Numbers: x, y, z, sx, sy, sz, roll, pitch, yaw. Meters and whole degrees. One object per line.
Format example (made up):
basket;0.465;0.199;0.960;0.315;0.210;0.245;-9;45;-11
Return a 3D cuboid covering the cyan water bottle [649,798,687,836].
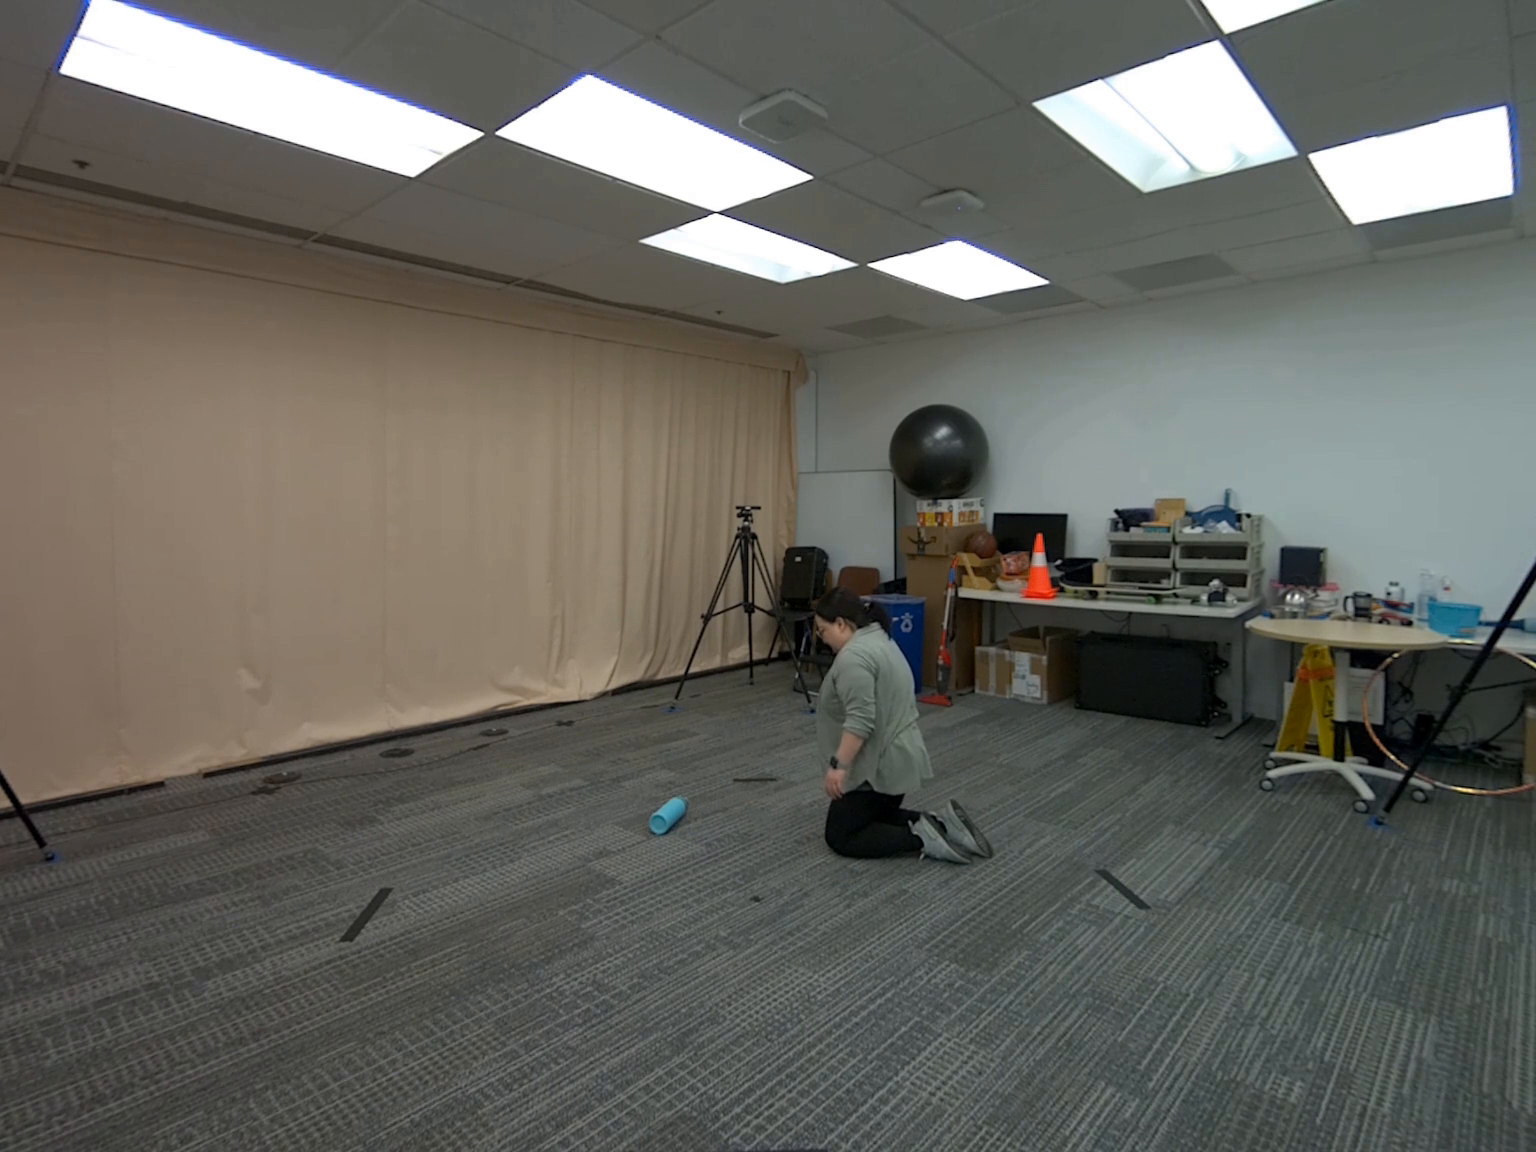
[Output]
cyan water bottle;-0.429;1.045;3.713;0.094;0.092;0.279;1;4;14
